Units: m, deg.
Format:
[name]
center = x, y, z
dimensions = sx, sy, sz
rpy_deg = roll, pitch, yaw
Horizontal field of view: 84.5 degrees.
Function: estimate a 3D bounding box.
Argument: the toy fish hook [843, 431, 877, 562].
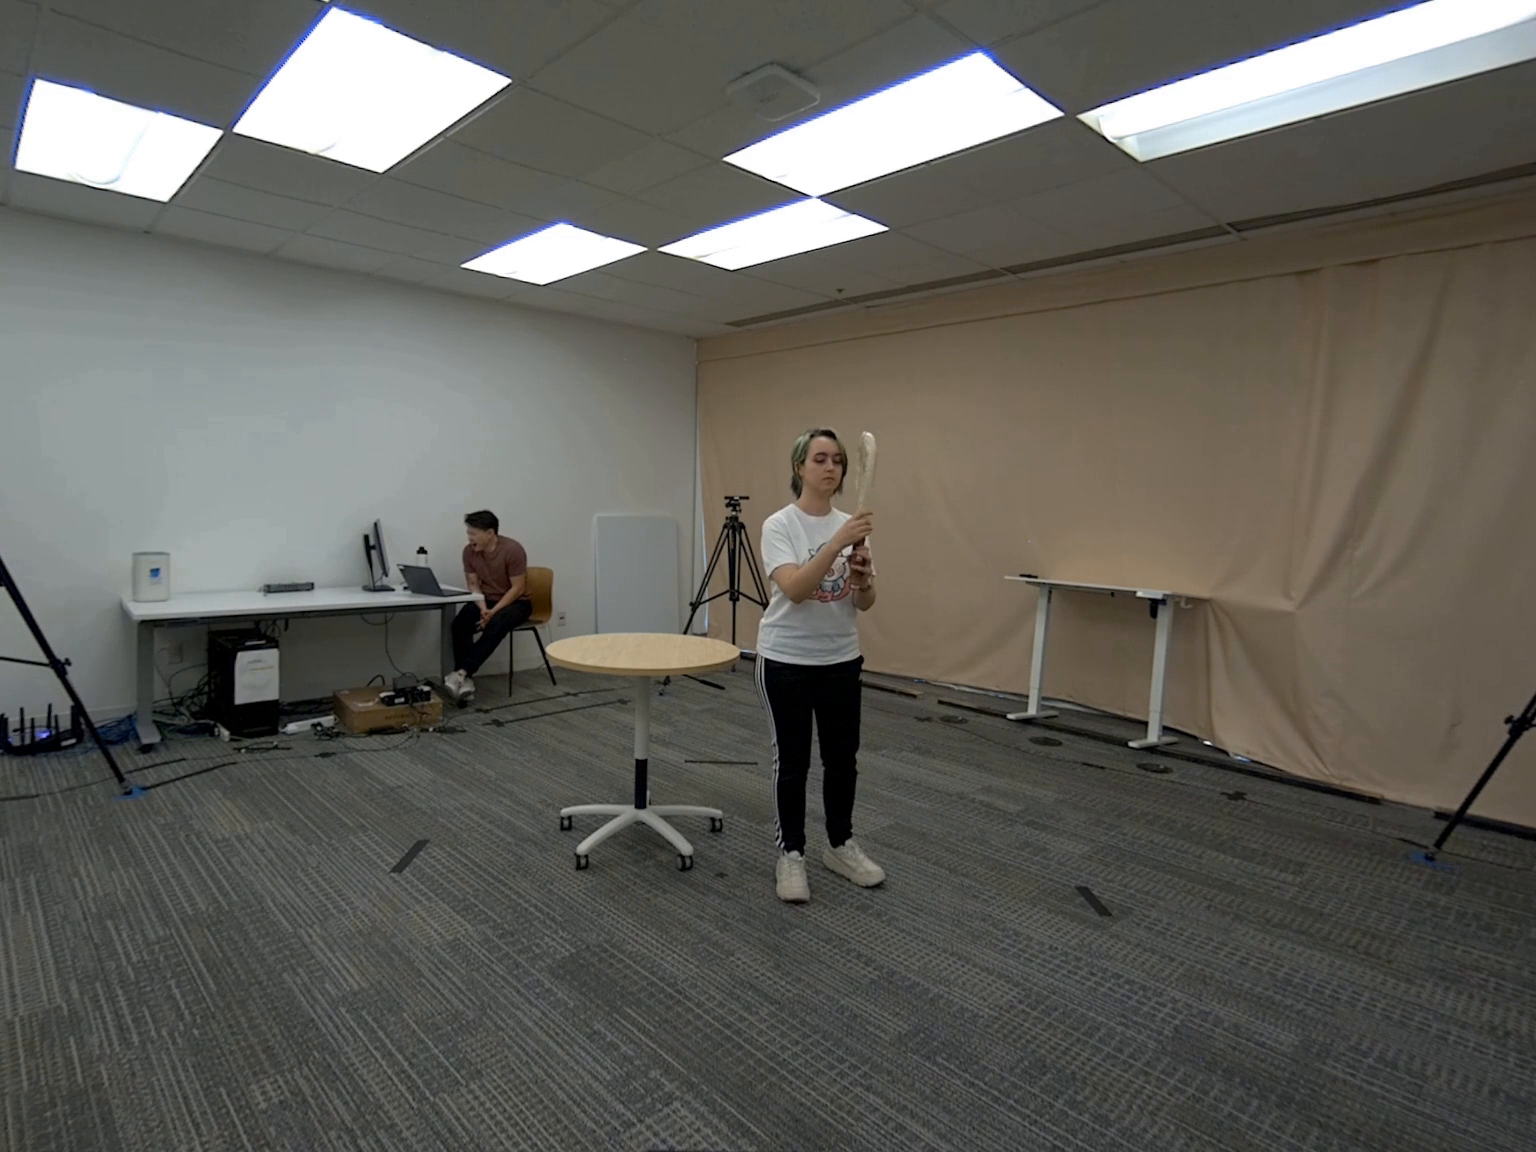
[toy fish hook]
center = 0.298, -0.216, 2.750
dimensions = 0.048, 0.502, 0.226
rpy_deg = 4, 12, -1
